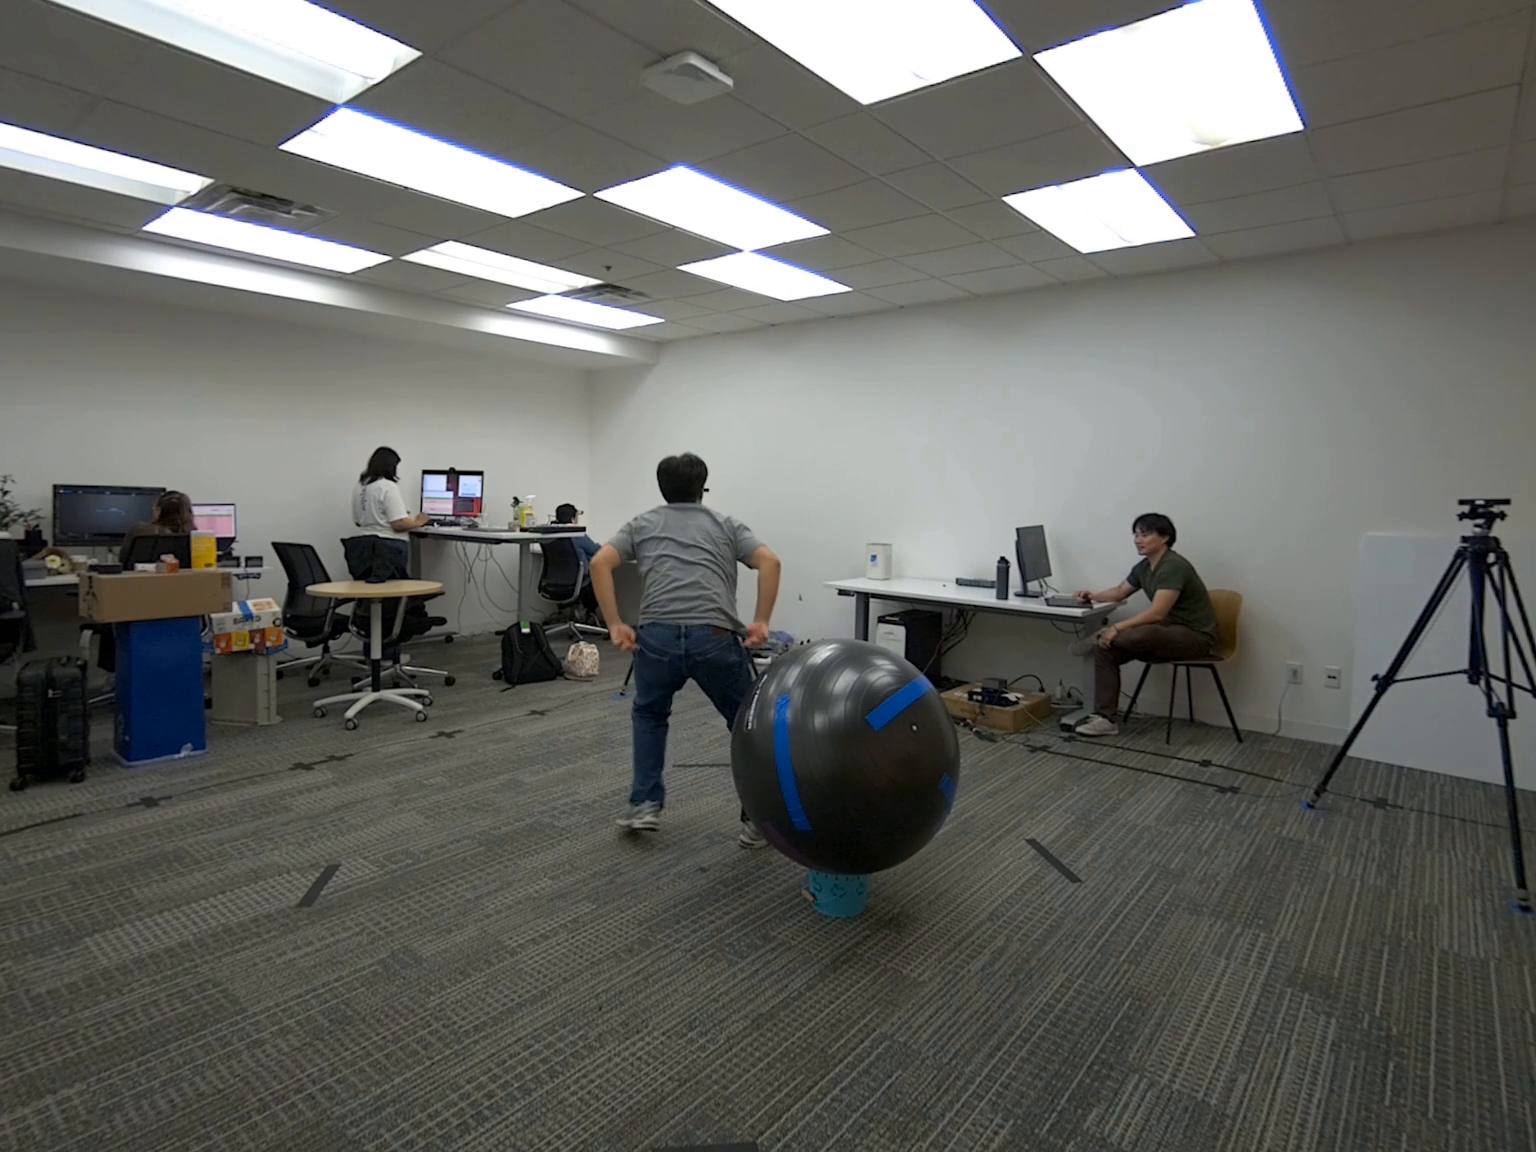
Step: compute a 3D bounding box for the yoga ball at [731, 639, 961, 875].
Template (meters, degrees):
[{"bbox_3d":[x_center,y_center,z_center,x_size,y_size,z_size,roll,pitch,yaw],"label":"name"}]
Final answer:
[{"bbox_3d":[0.243,0.591,2.854,0.757,0.756,0.762,1,4,-2],"label":"yoga ball"}]
